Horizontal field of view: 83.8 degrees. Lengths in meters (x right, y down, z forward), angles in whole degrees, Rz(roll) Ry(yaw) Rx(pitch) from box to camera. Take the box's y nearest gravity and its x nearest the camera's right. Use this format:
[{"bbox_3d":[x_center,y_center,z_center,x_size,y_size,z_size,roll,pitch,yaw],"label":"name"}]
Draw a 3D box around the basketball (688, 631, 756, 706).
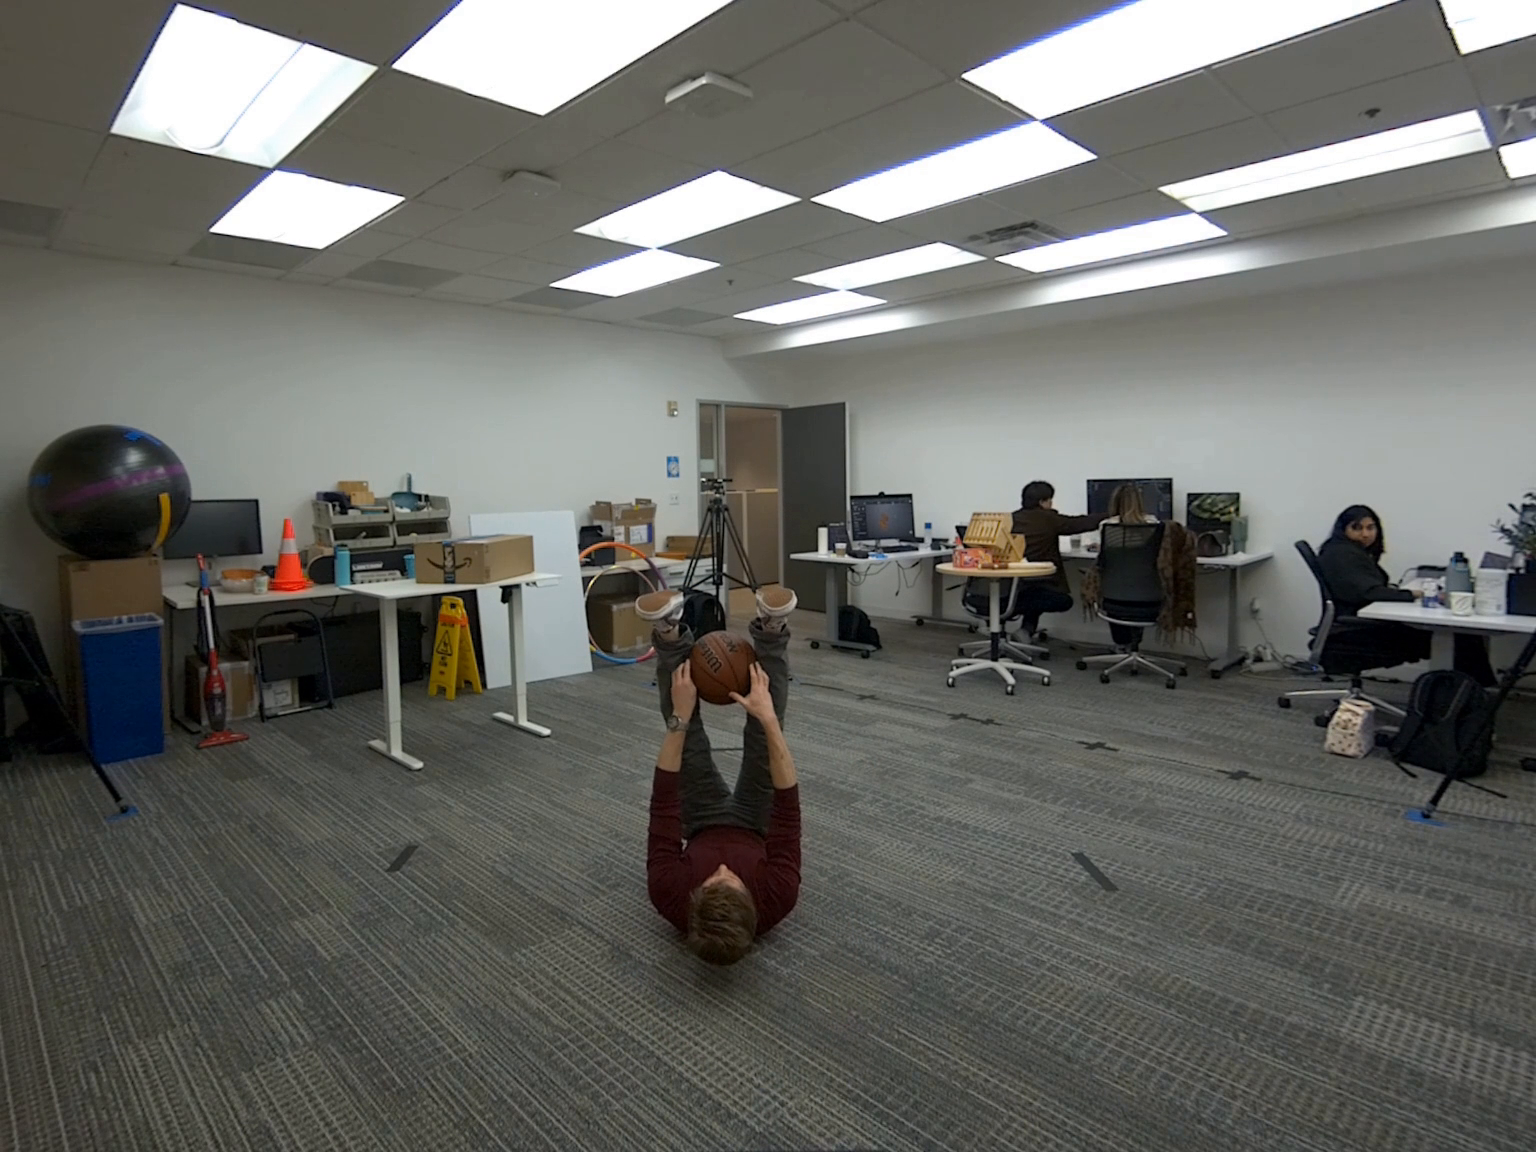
[{"bbox_3d":[-0.141,0.294,2.778,0.236,0.235,0.237,-1,5,-2],"label":"basketball"}]
